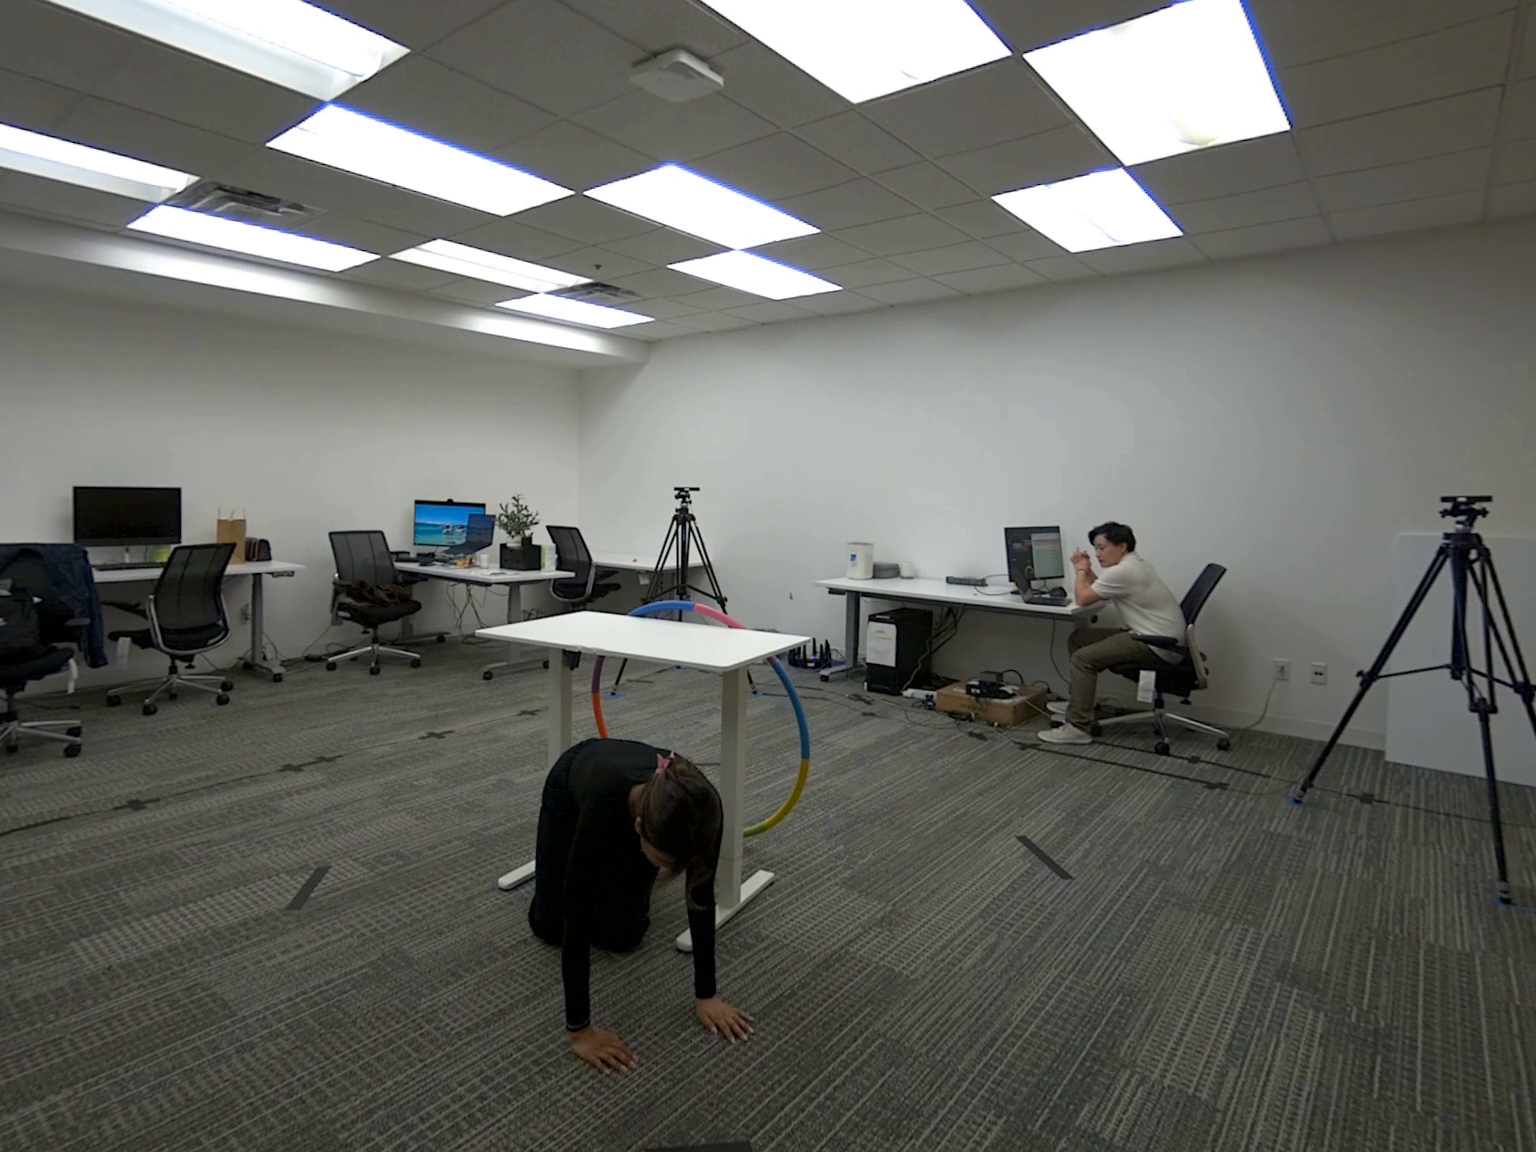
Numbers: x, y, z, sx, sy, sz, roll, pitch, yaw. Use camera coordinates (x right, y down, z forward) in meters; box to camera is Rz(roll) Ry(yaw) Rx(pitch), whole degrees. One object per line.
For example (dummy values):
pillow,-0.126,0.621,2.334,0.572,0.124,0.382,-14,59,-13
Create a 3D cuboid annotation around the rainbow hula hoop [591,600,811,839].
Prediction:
rainbow hula hoop,-0.299,0.563,3.306,1.007,0.965,0.035,3,15,30
